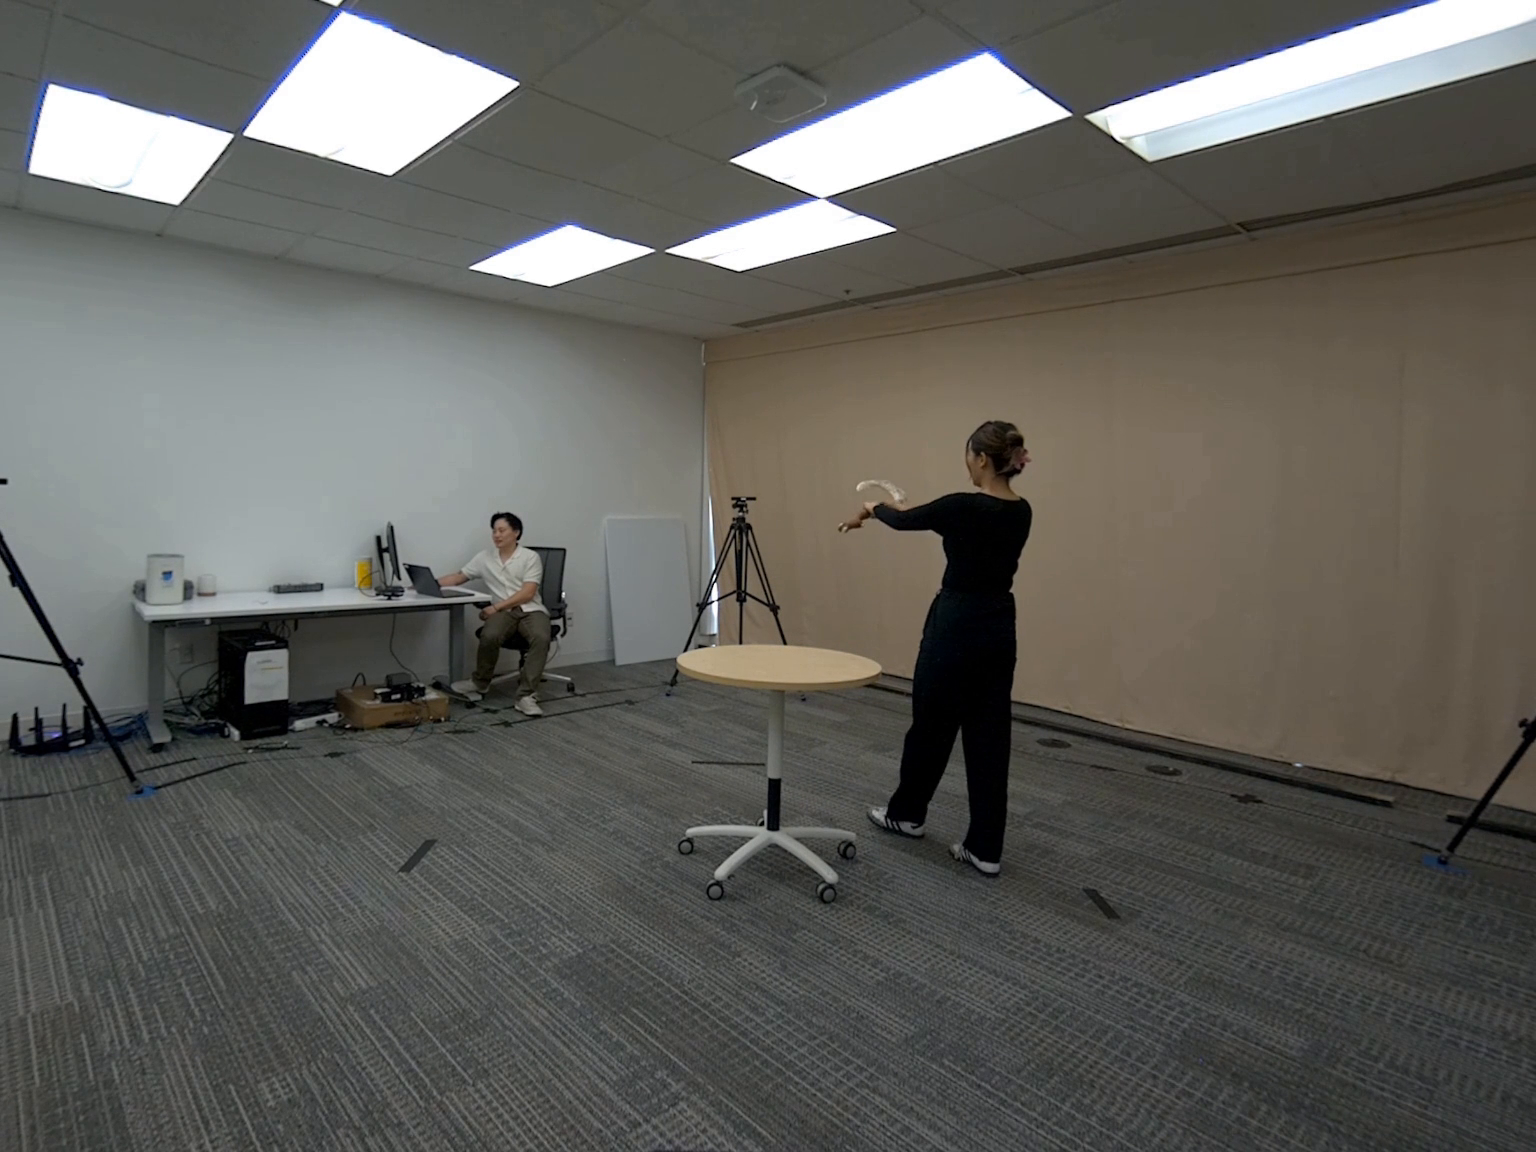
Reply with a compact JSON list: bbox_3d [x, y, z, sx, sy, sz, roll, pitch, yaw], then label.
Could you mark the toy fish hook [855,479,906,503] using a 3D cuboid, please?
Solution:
[{"bbox_3d":[0.423,-0.313,3.689,0.230,0.047,0.502,33,40,25],"label":"toy fish hook"}]
